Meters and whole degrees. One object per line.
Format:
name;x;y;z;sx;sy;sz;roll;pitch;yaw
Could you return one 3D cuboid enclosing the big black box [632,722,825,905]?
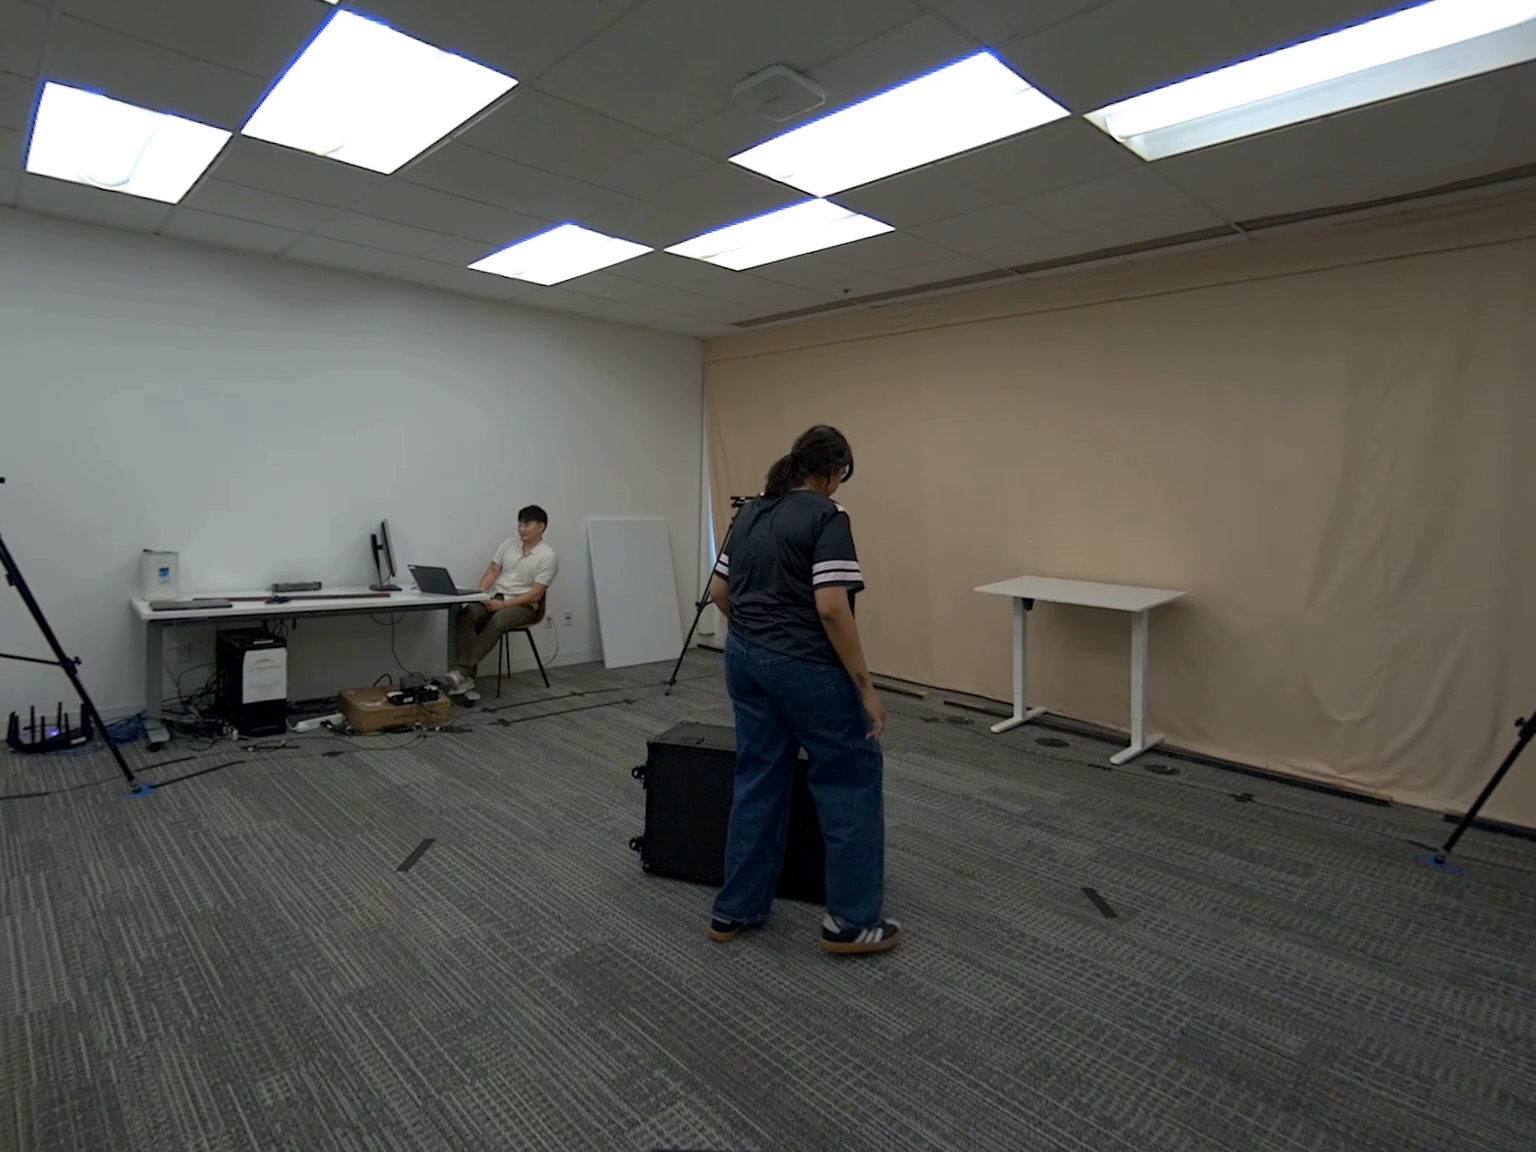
big black box;-0.064;0.849;3.137;0.881;0.522;0.381;3;3;17
